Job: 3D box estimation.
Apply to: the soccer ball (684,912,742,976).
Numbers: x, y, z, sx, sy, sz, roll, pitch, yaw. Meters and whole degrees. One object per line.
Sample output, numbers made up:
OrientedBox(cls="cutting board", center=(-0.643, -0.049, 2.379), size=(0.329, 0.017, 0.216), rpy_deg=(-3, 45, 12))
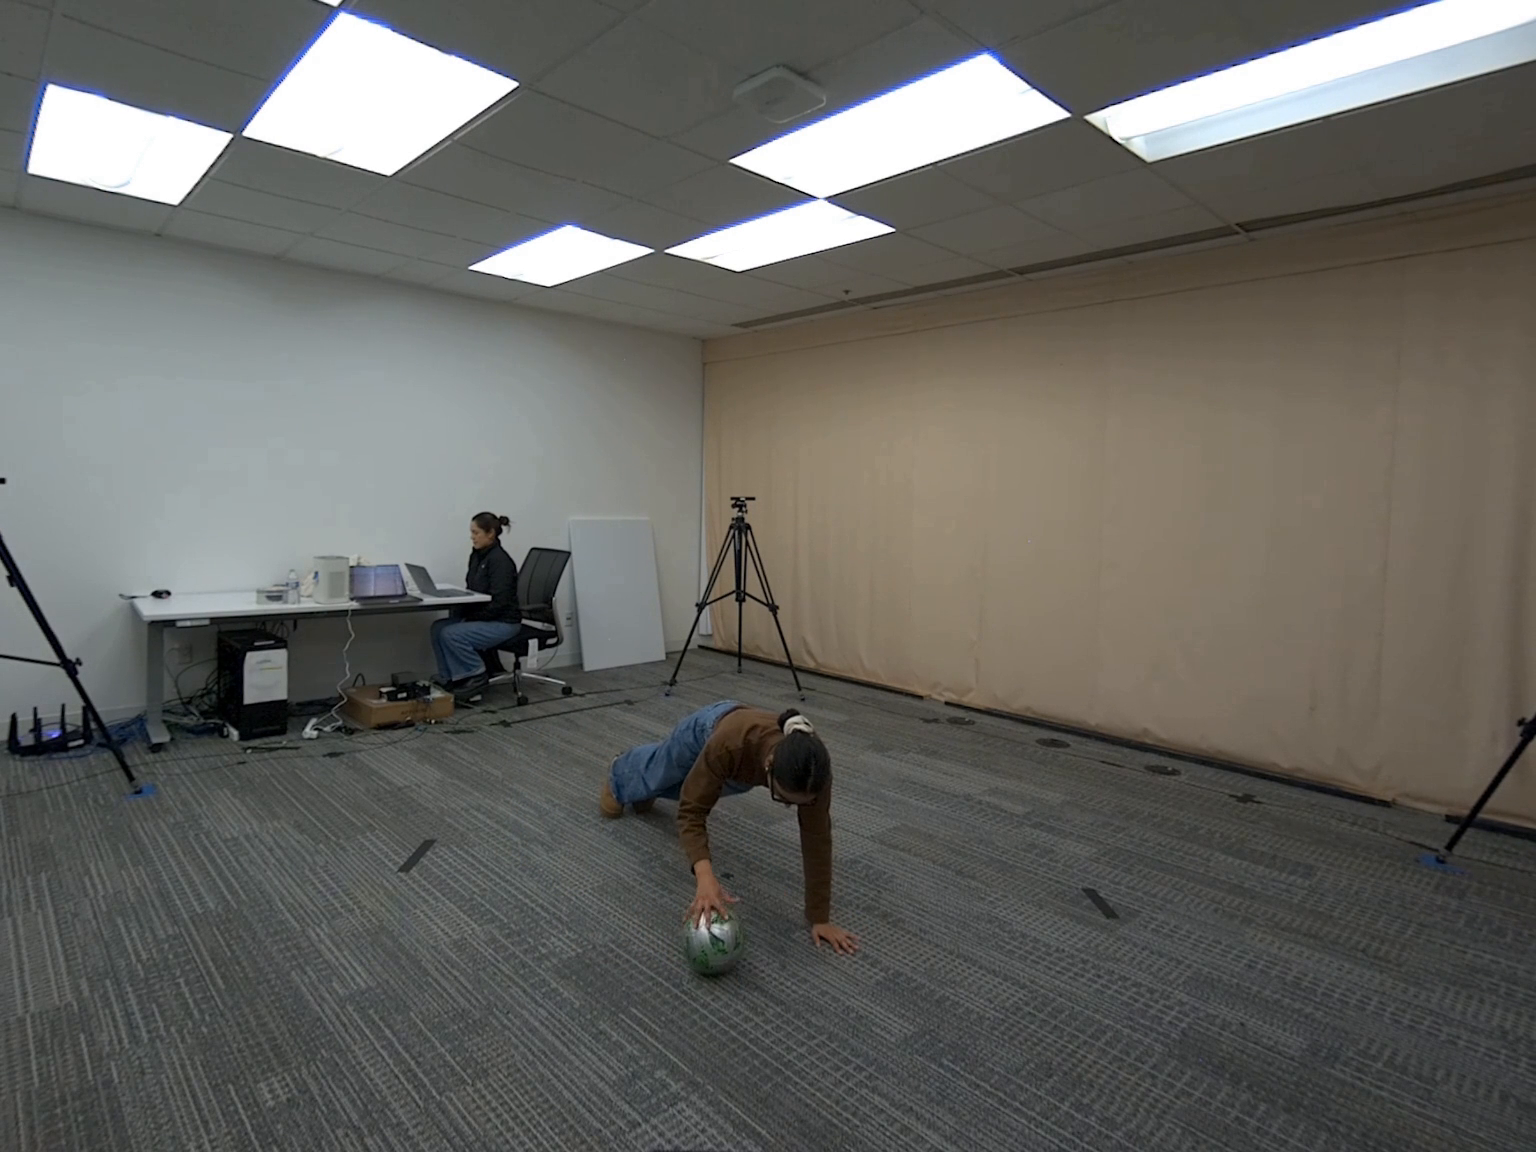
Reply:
OrientedBox(cls="soccer ball", center=(-0.174, 1.074, 2.475), size=(0.187, 0.187, 0.188), rpy_deg=(1, 4, -1))
